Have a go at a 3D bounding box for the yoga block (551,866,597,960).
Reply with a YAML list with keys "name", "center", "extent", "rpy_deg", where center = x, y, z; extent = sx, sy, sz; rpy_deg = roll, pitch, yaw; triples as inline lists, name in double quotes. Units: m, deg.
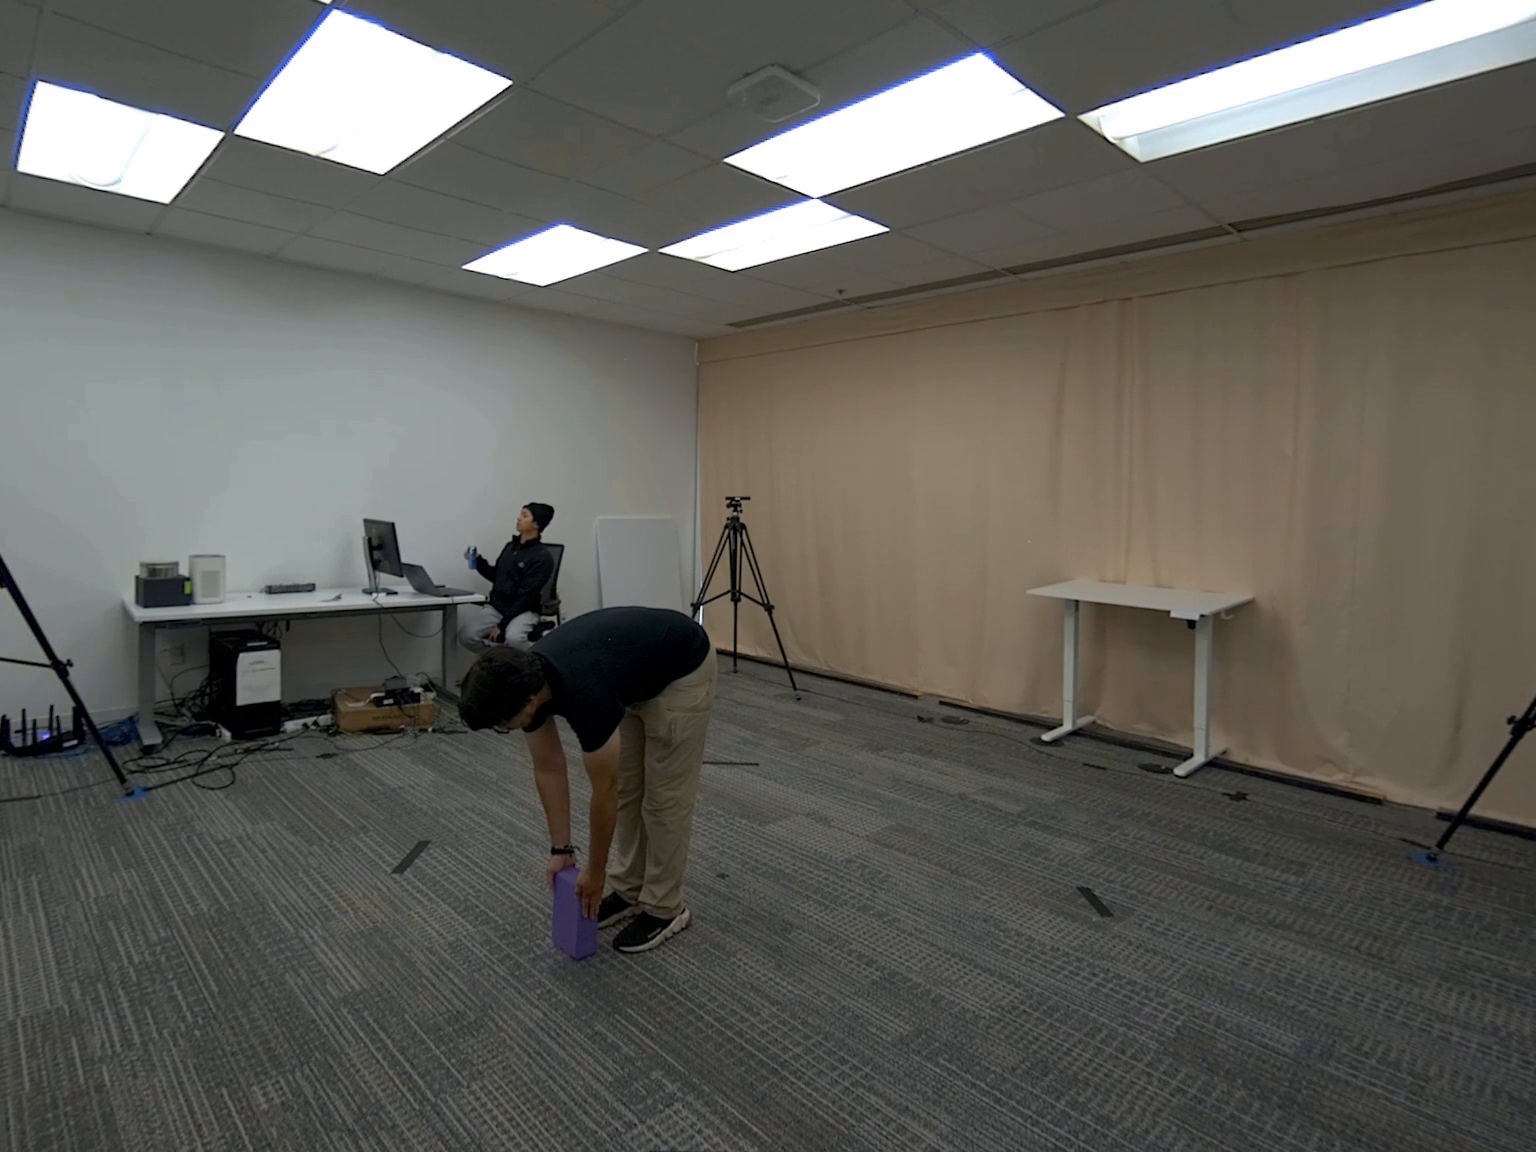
- name: "yoga block"
  center: [-0.597, 1.032, 2.574]
  extent: [0.075, 0.229, 0.153]
  rpy_deg: [-3, 5, -41]
